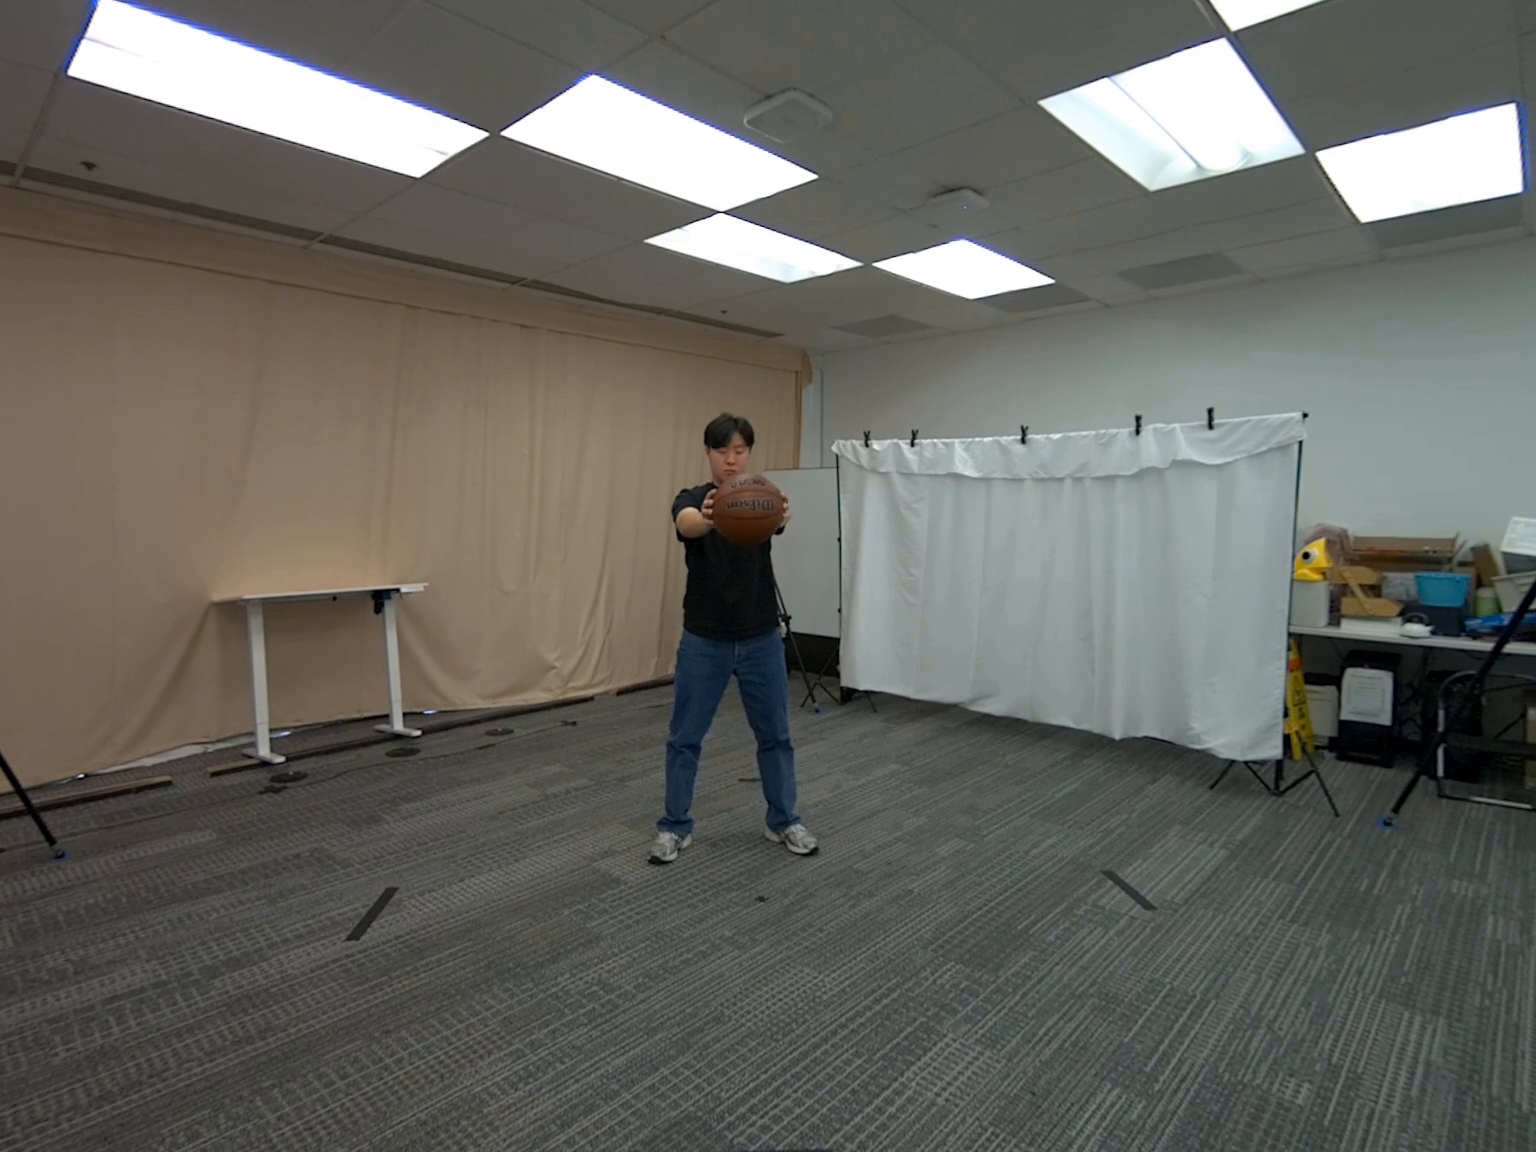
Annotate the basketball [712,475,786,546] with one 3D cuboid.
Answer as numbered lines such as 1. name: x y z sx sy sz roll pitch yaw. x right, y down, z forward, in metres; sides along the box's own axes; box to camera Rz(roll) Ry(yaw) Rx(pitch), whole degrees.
1. basketball: -0.065 -0.194 2.766 0.236 0.235 0.237 0 4 -2
